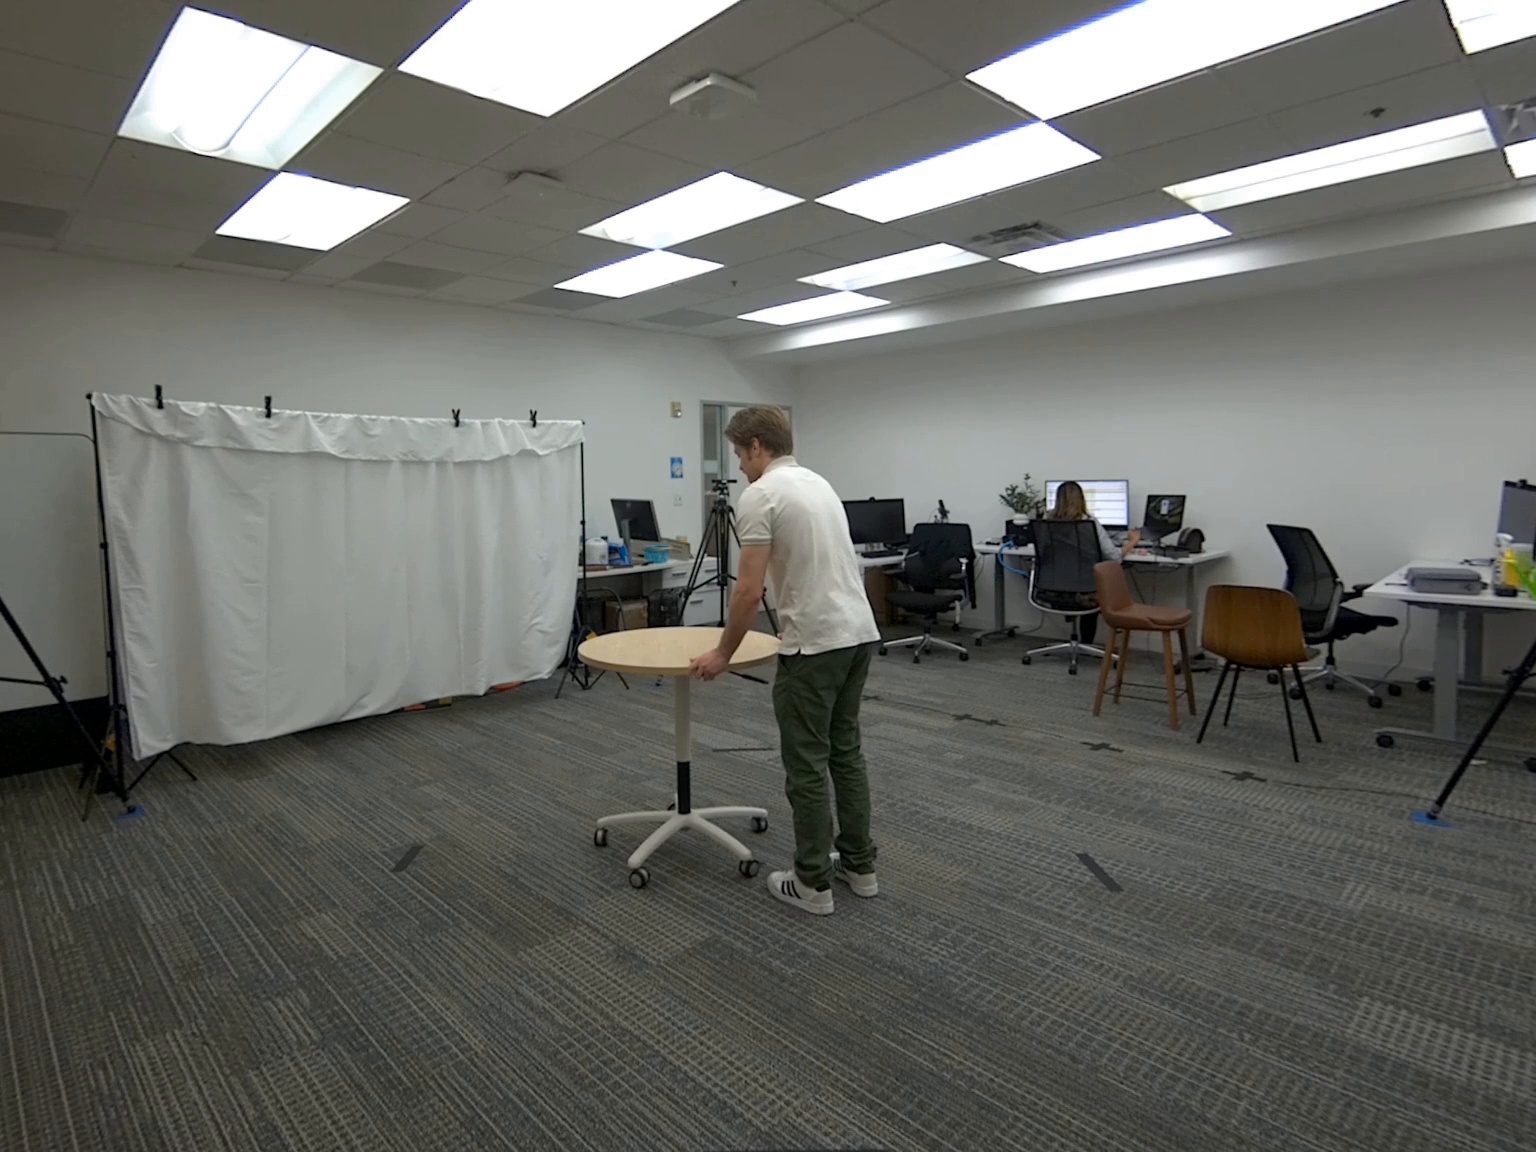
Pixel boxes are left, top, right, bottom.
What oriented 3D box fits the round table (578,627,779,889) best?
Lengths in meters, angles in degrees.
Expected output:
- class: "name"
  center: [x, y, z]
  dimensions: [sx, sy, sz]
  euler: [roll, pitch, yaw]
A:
- class: "round table"
  center: [-0.321, 0.647, 3.229]
  dimensions: [0.763, 0.791, 0.767]
  euler: [0, 4, -2]
